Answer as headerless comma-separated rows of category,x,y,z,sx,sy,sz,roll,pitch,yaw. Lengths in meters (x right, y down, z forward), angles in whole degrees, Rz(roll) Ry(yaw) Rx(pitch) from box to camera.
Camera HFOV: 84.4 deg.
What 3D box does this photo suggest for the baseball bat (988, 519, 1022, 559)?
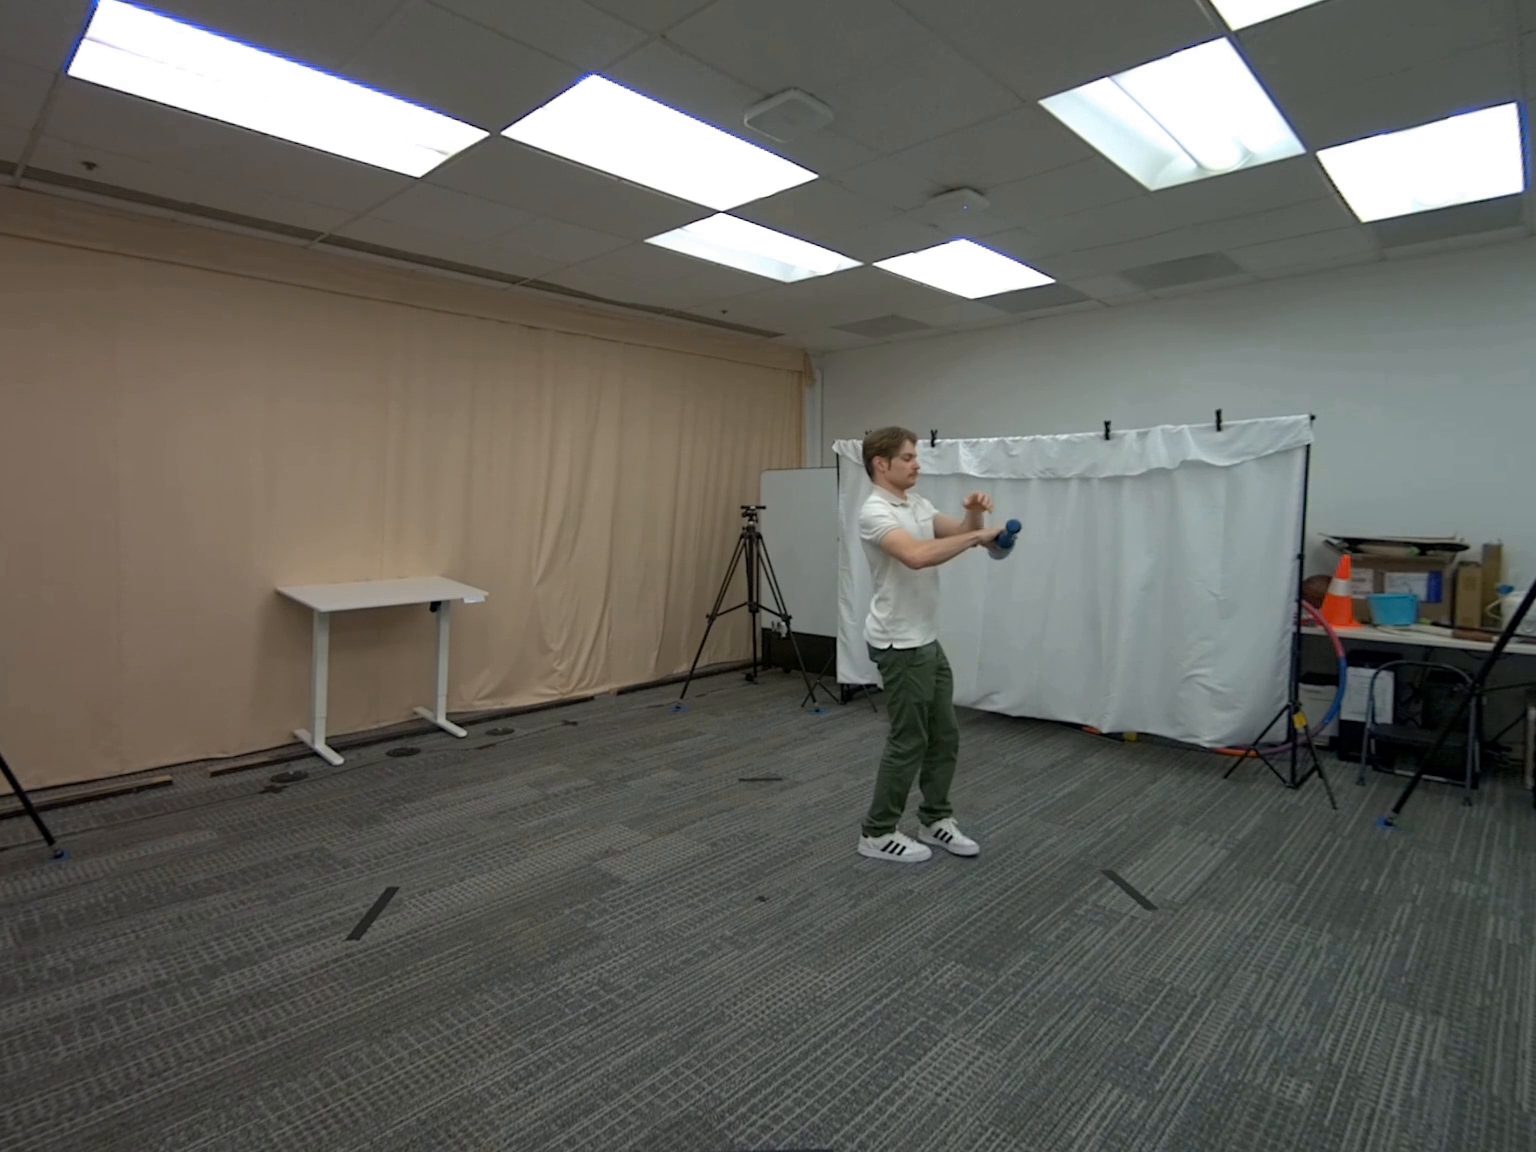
baseball bat,0.857,-0.130,3.052,0.090,0.089,0.534,1,-7,9
